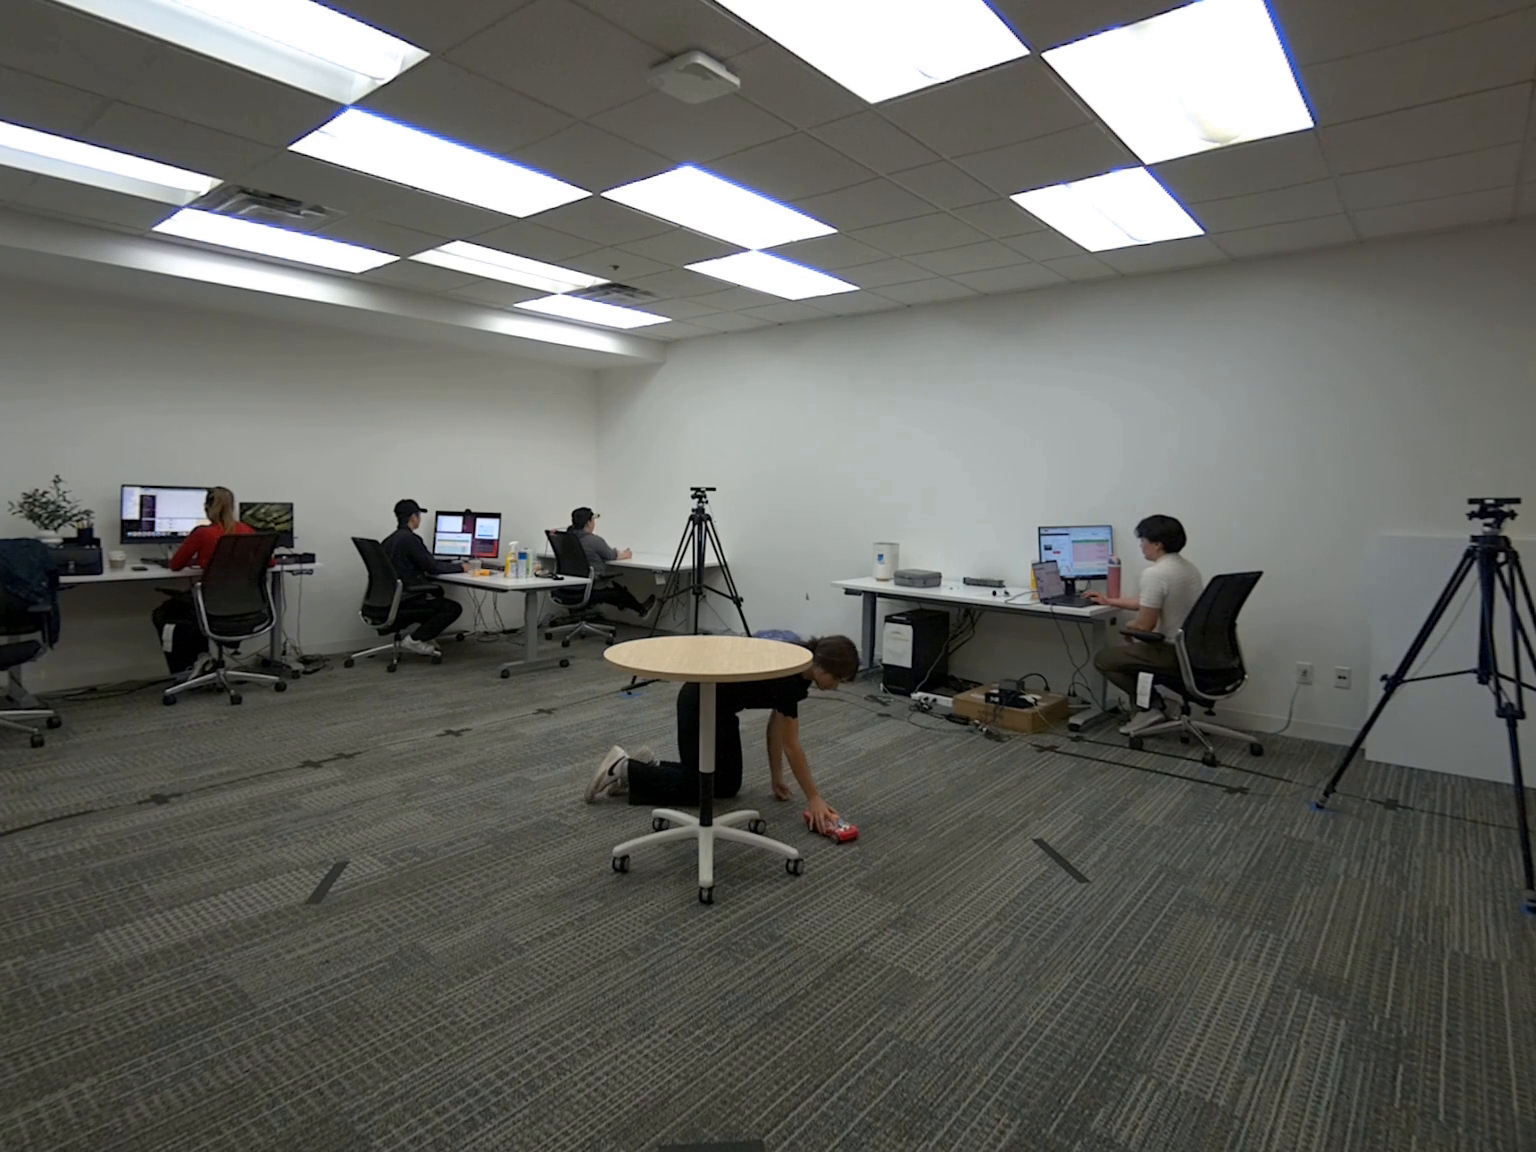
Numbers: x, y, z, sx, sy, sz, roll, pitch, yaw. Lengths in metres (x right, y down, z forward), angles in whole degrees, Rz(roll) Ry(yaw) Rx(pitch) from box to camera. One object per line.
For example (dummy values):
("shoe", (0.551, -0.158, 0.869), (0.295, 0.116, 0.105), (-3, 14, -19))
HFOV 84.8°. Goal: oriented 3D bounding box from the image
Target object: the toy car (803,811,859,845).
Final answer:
("toy car", (0.248, 1.013, 3.468), (0.126, 0.082, 0.265), (-2, 16, -36))
